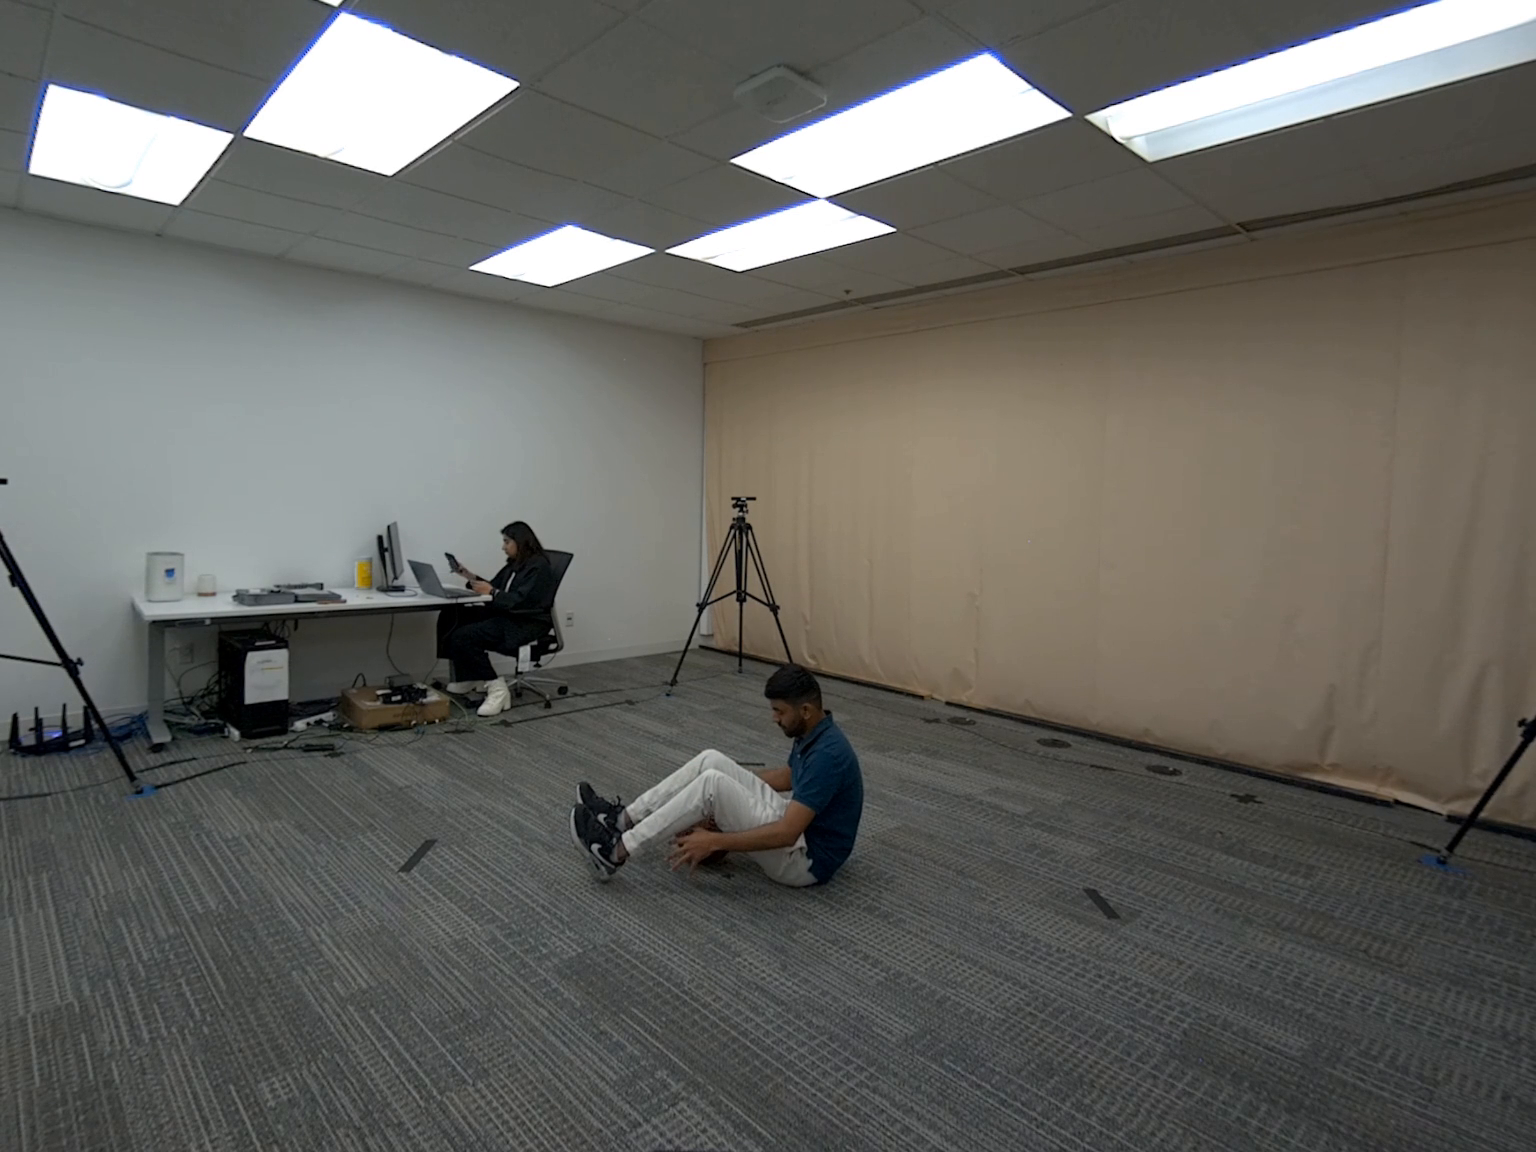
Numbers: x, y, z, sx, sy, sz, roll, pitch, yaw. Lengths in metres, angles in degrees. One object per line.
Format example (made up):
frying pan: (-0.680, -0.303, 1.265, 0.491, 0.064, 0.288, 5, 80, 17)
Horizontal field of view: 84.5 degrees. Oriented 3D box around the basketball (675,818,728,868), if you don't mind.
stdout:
basketball: (-0.242, 0.973, 3.235, 0.236, 0.235, 0.237, 1, 4, -1)
